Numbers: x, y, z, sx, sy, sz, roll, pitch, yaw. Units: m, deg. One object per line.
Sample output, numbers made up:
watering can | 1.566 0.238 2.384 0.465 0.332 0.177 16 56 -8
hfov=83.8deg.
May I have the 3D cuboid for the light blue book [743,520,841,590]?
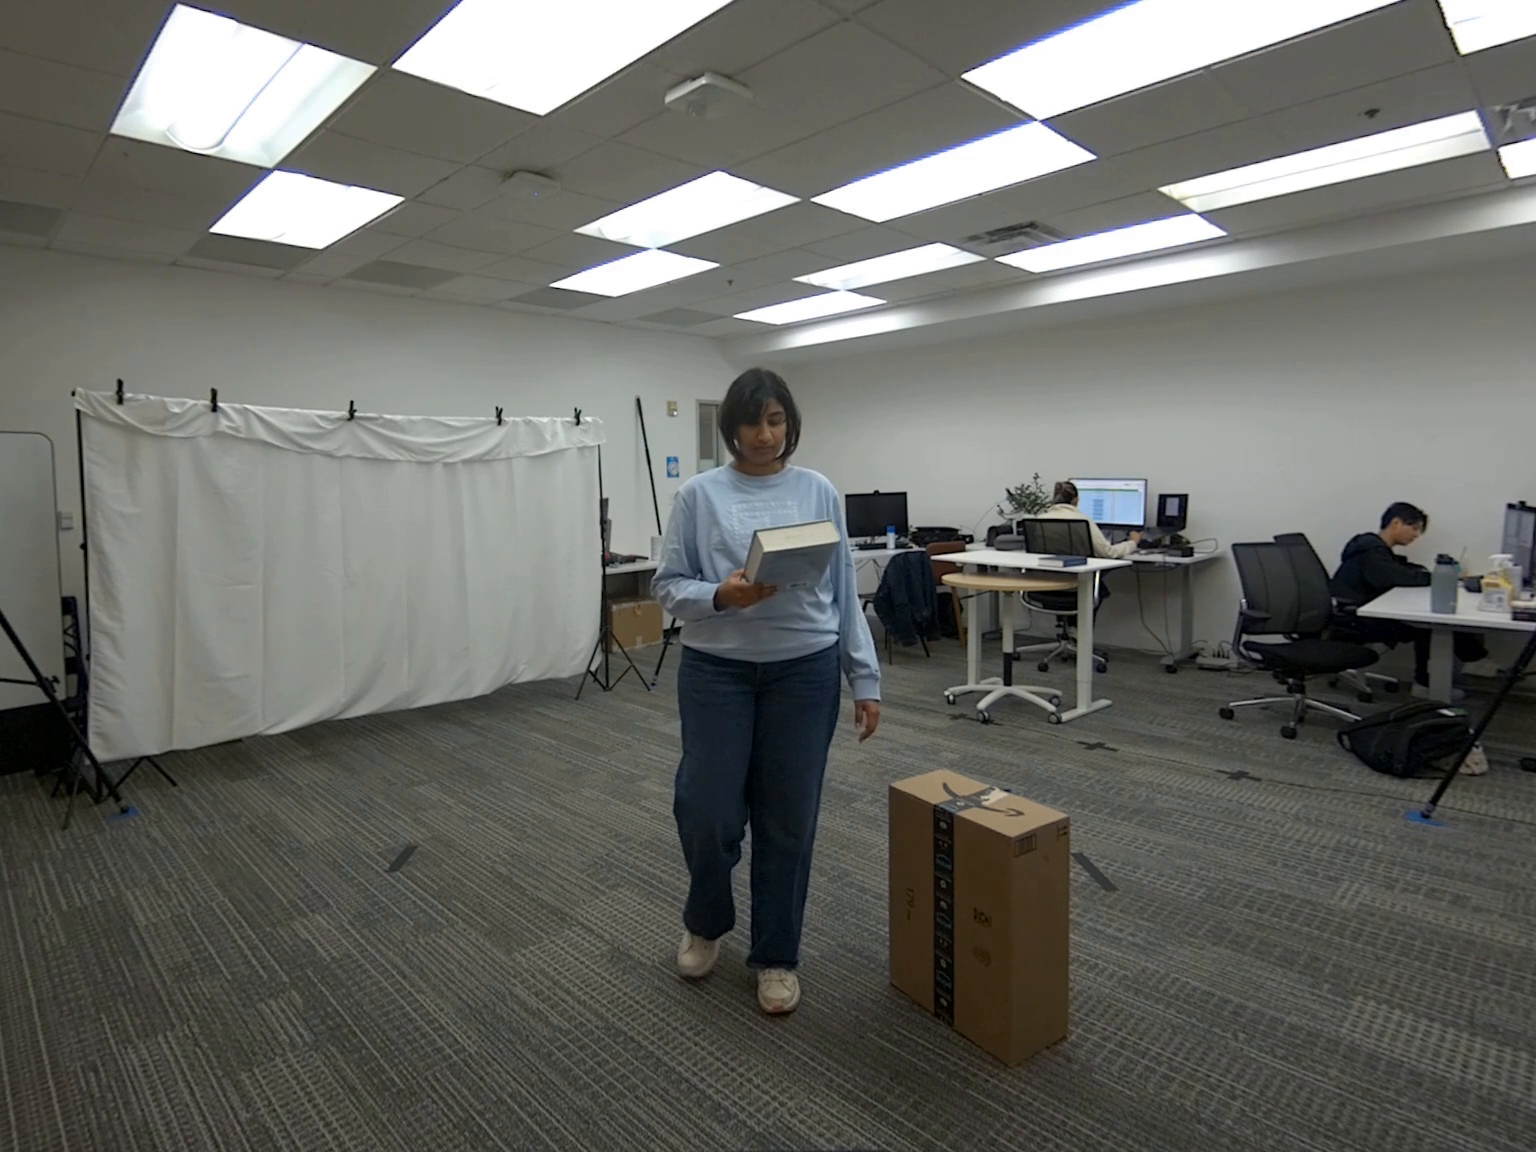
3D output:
light blue book | 0.046 -0.039 2.044 0.189 0.060 0.257 -8 -23 -14
